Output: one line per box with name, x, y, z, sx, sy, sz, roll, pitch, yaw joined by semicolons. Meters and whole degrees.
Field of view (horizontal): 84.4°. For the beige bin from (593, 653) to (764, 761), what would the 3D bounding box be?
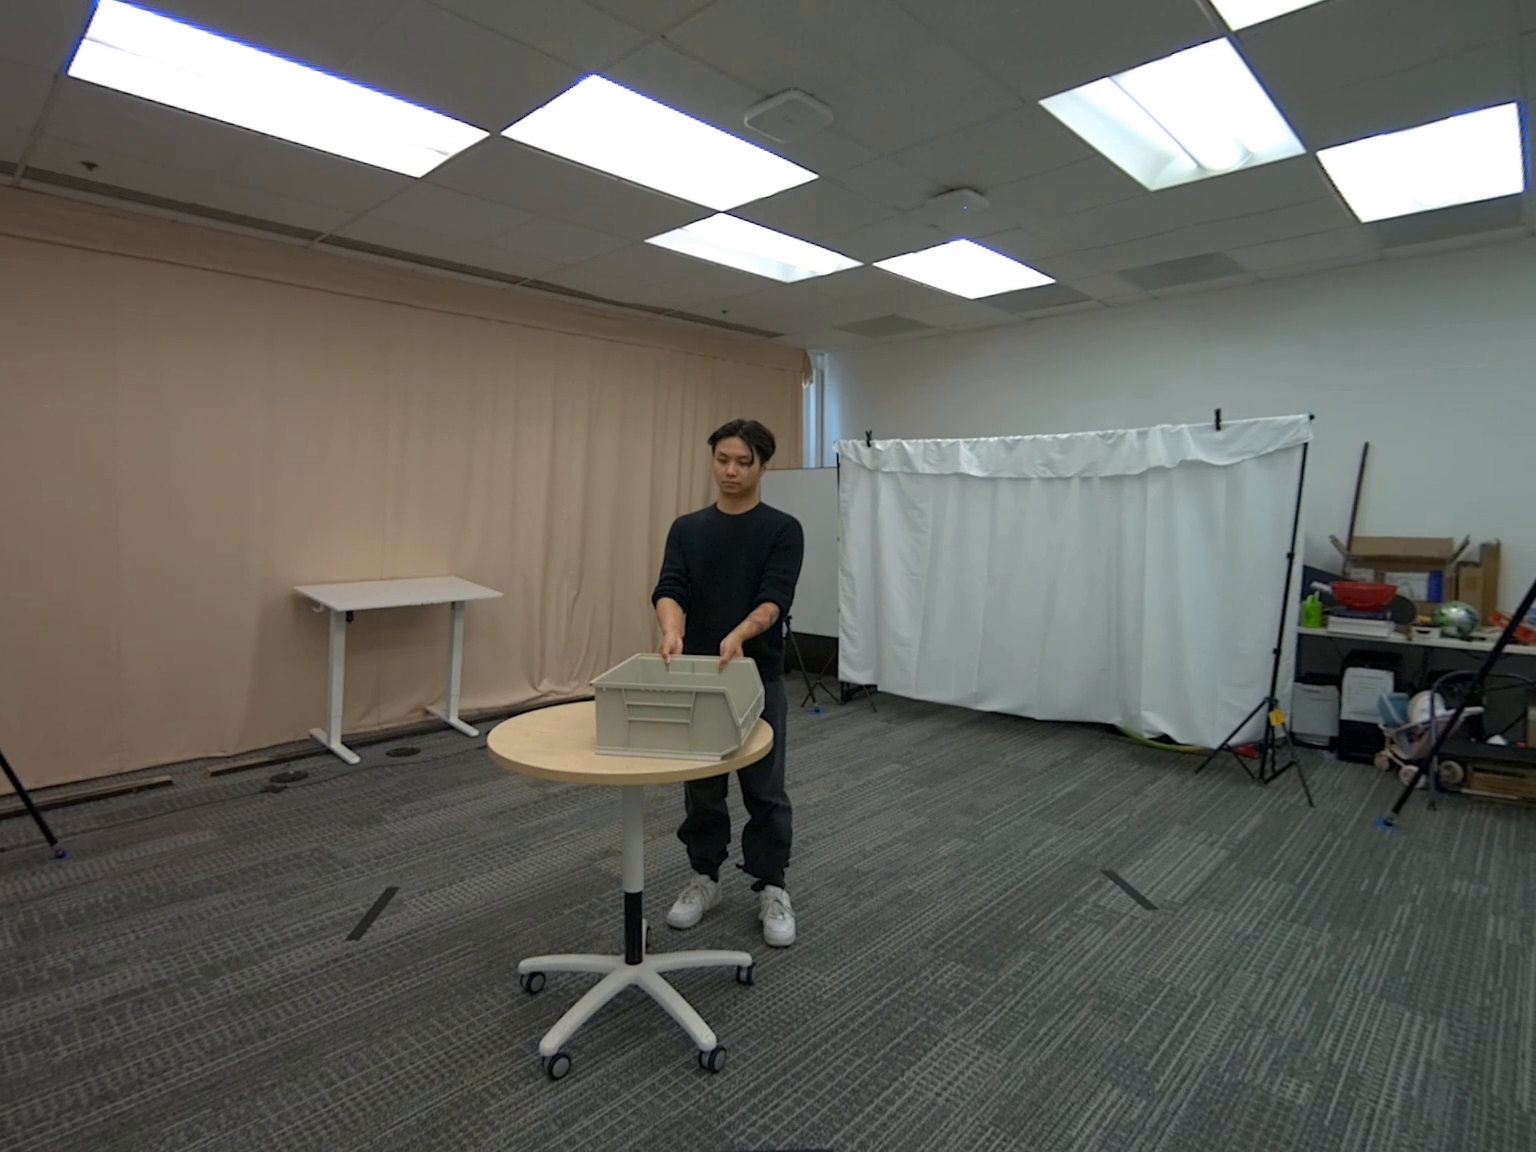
beige bin;-0.222;0.335;2.228;0.381;0.188;0.419;-1;4;8
